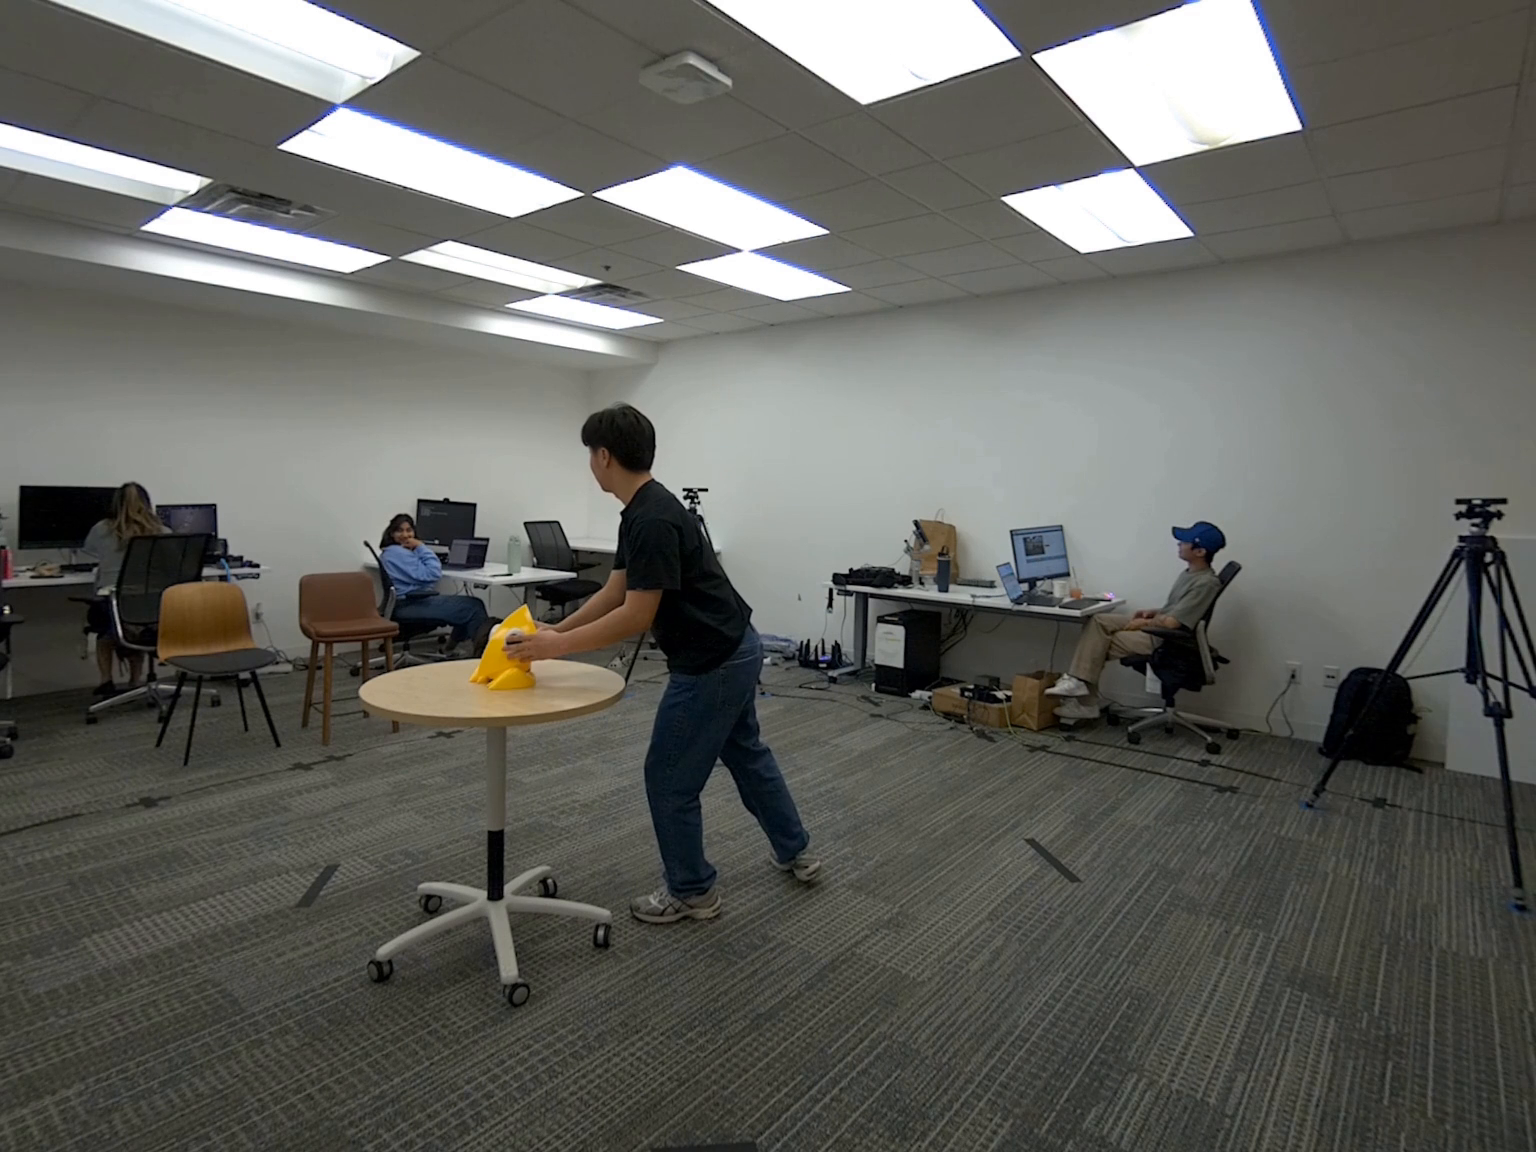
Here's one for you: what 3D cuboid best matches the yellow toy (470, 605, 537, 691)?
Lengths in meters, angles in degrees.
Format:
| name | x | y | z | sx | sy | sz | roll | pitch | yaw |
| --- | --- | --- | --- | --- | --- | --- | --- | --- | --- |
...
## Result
| name | x | y | z | sx | sy | sz | roll | pitch | yaw |
| --- | --- | --- | --- | --- | --- | --- | --- | --- | --- |
| yellow toy | -0.803 | 0.206 | 2.571 | 0.187 | 0.230 | 0.212 | -3 | 6 | -44 |
